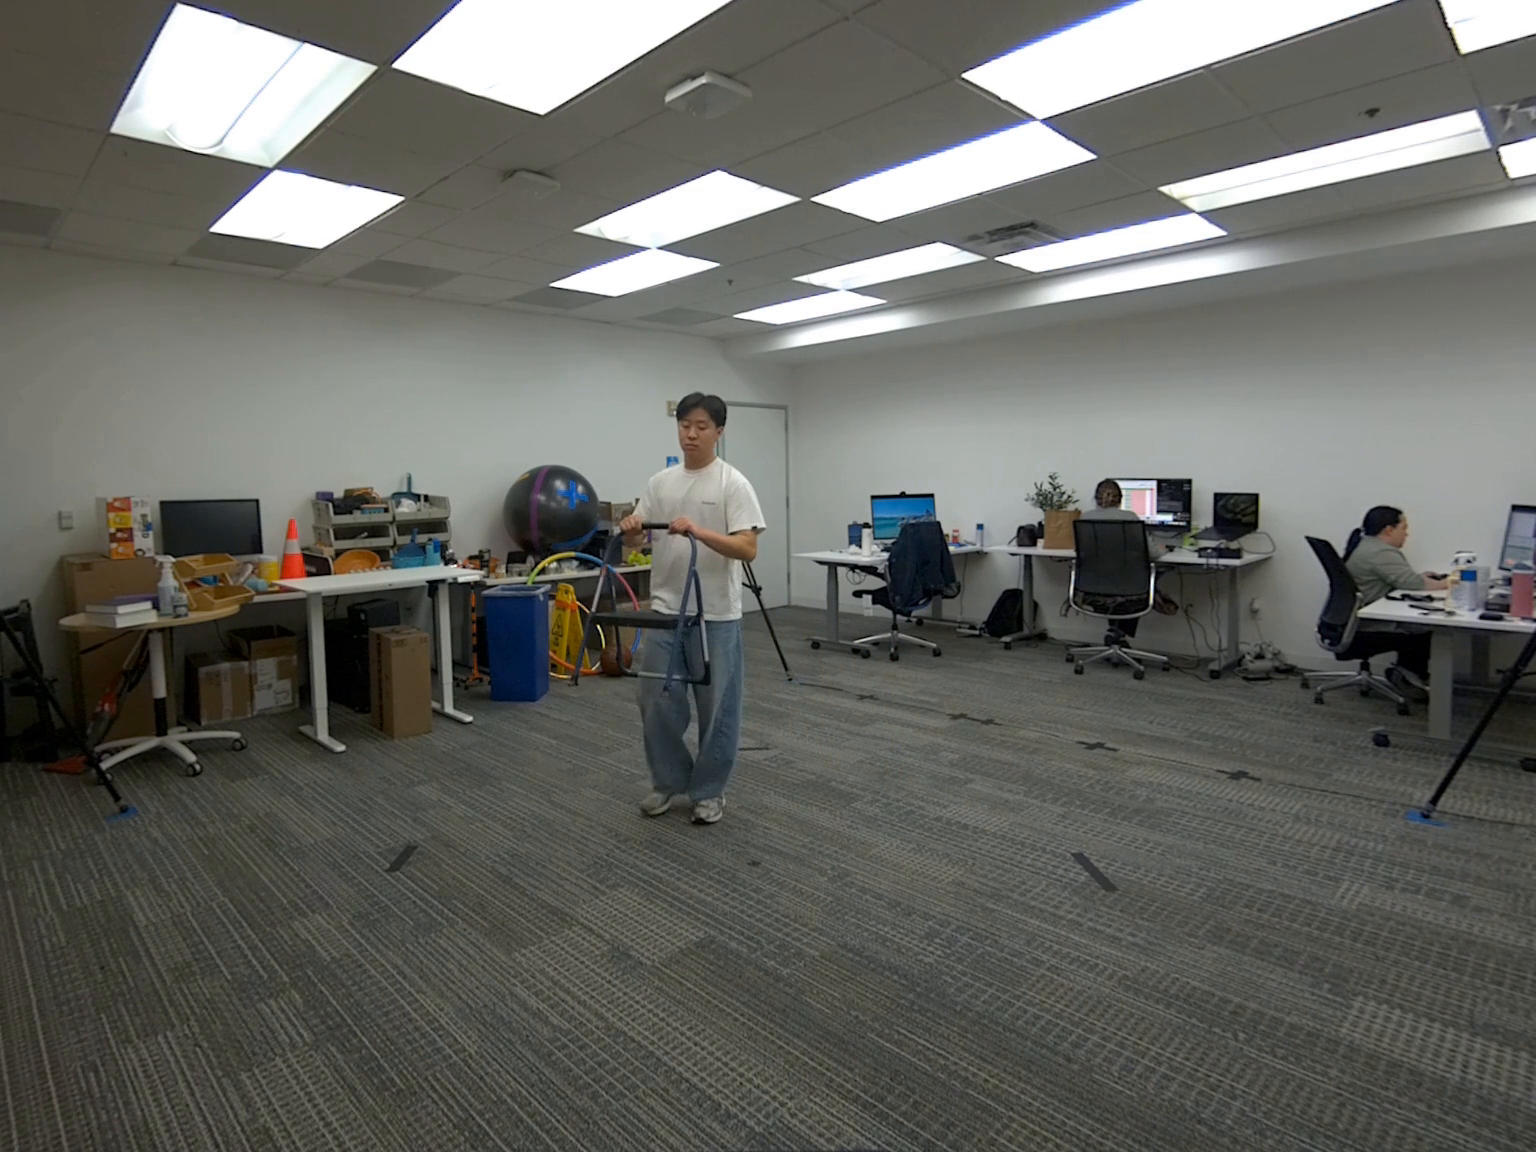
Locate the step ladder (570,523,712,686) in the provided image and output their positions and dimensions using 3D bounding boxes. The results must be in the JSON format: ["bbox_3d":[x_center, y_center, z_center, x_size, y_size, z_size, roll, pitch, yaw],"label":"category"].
[{"bbox_3d":[-0.459,0.121,3.186,0.441,0.606,0.341,2,0,26],"label":"step ladder"}]
